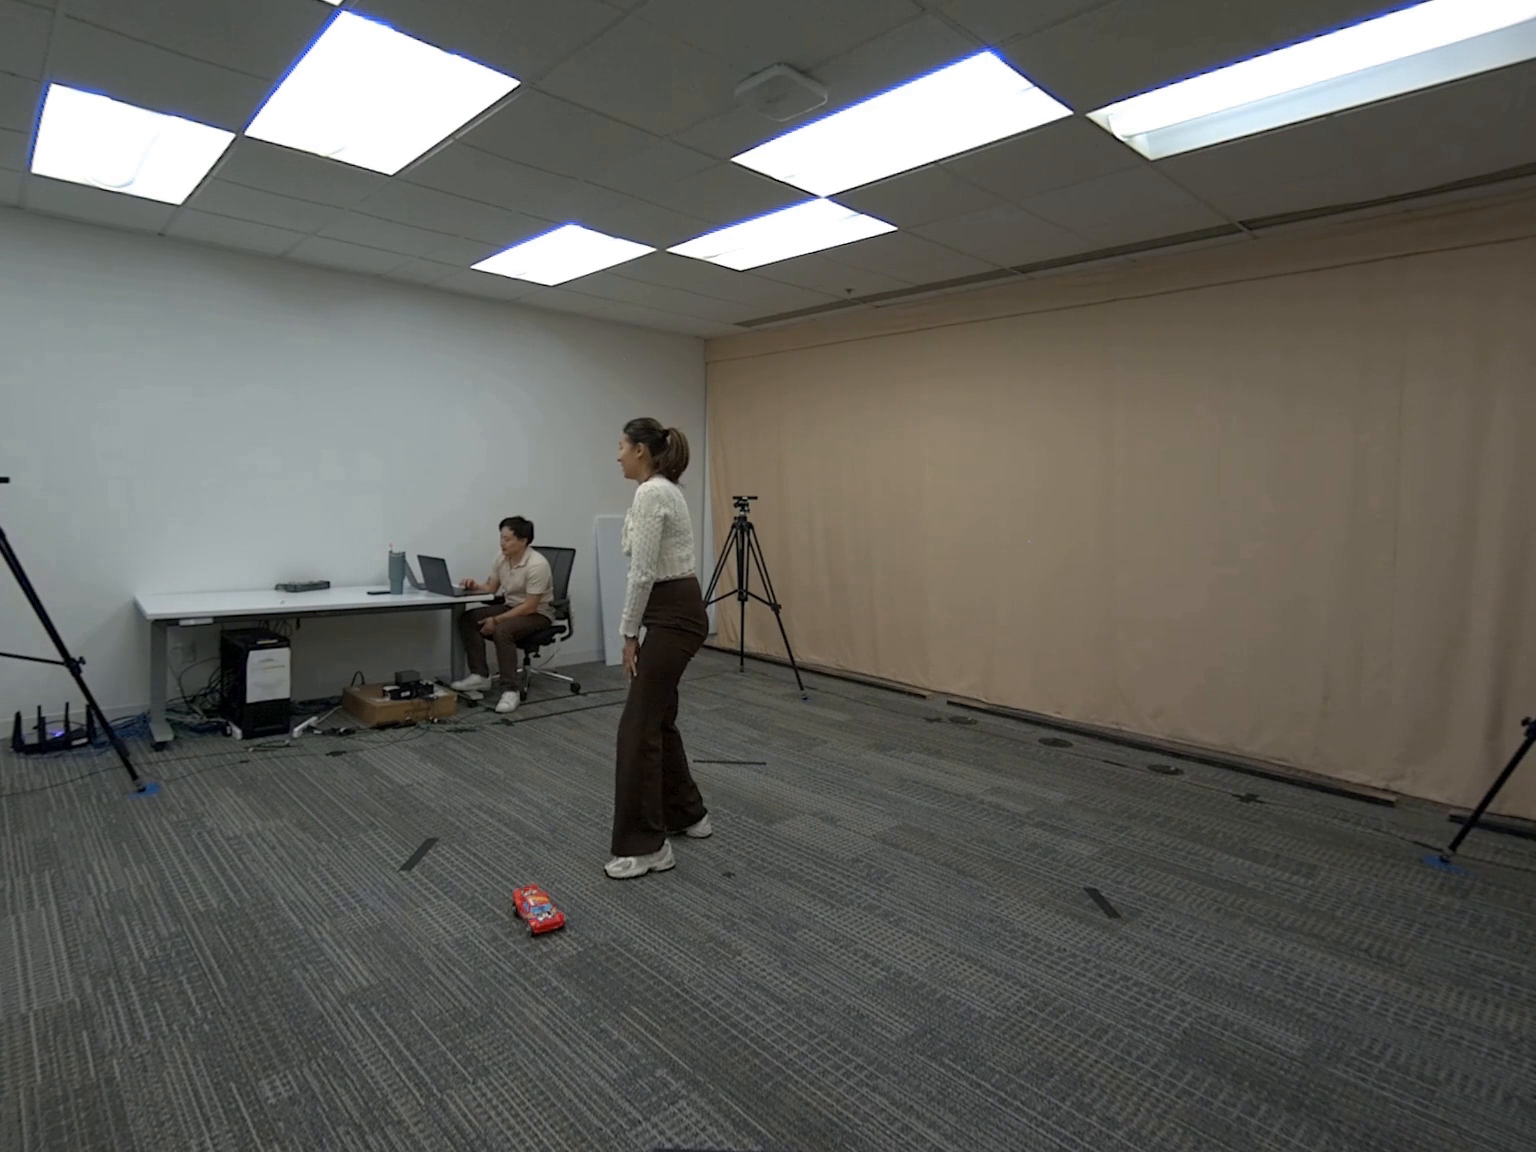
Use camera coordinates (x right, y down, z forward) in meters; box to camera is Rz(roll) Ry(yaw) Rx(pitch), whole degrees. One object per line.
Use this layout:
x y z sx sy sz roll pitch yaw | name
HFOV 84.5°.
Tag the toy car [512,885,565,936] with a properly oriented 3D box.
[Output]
-0.764 1.090 2.744 0.127 0.082 0.262 -2 17 -32 | toy car
